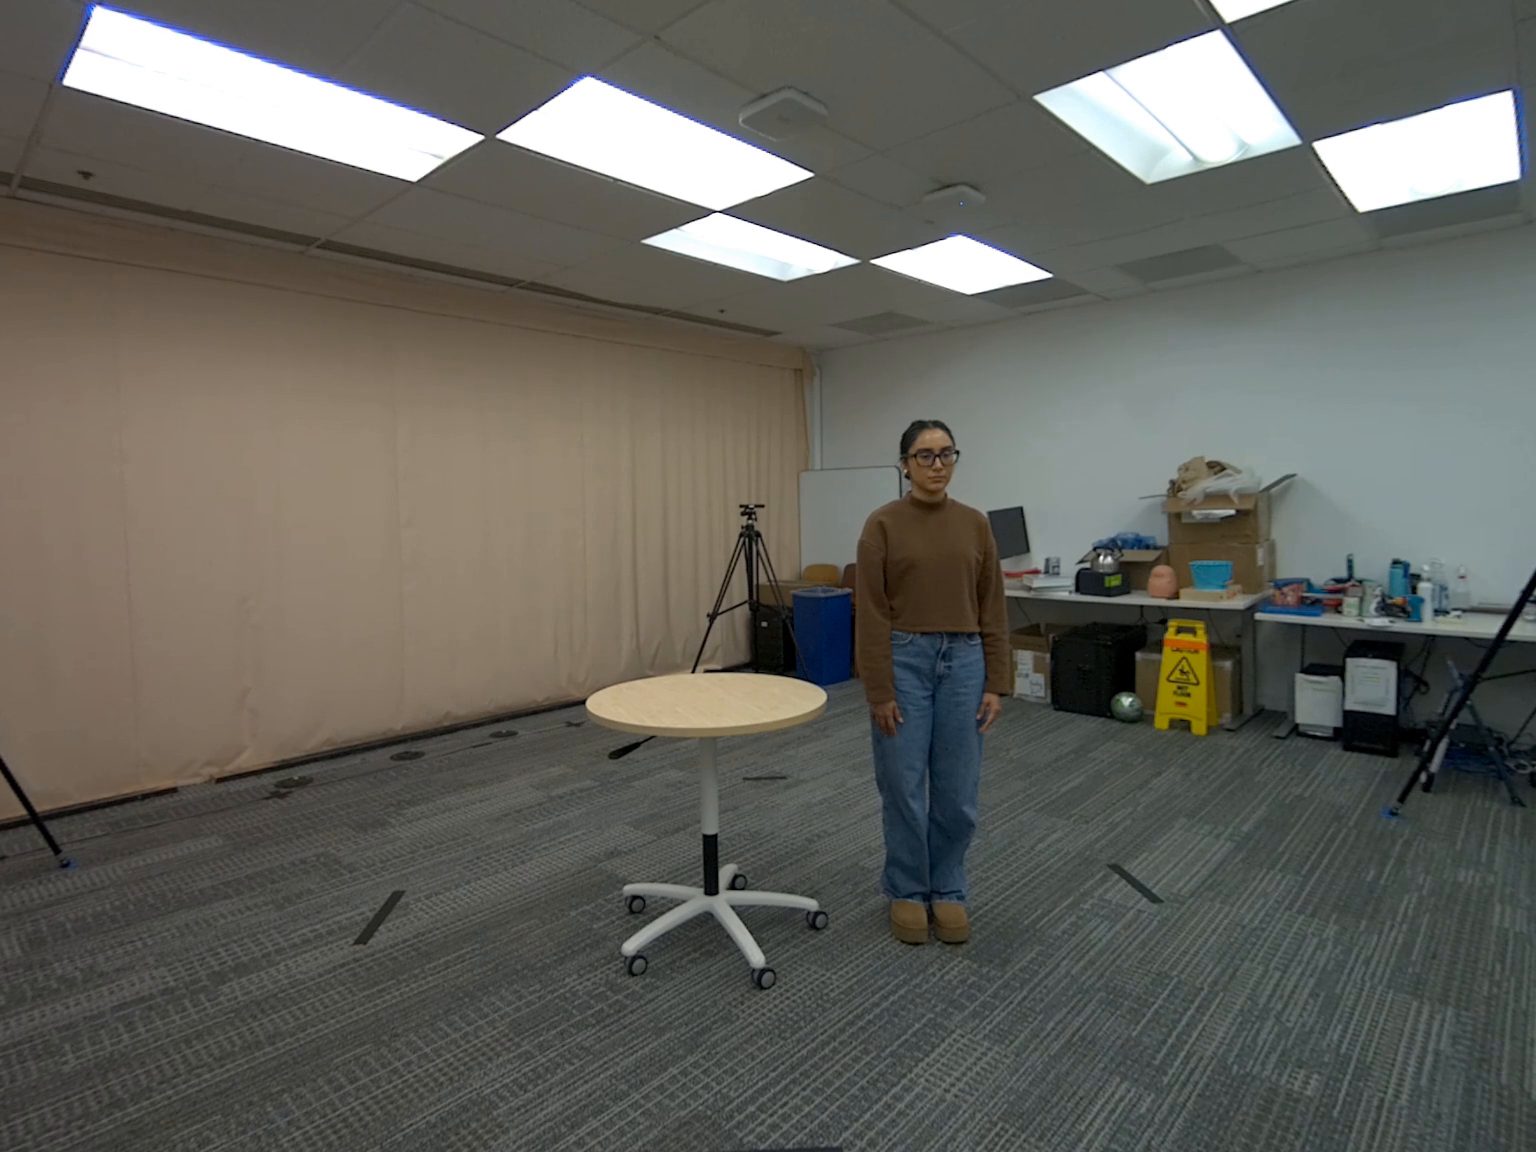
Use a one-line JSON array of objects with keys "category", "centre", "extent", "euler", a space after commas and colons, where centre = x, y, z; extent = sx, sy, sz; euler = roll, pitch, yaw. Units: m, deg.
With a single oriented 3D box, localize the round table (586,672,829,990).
[{"category": "round table", "centre": [-0.183, 0.780, 2.706], "extent": [0.763, 0.792, 0.767], "euler": [-2, 4, -2]}]
